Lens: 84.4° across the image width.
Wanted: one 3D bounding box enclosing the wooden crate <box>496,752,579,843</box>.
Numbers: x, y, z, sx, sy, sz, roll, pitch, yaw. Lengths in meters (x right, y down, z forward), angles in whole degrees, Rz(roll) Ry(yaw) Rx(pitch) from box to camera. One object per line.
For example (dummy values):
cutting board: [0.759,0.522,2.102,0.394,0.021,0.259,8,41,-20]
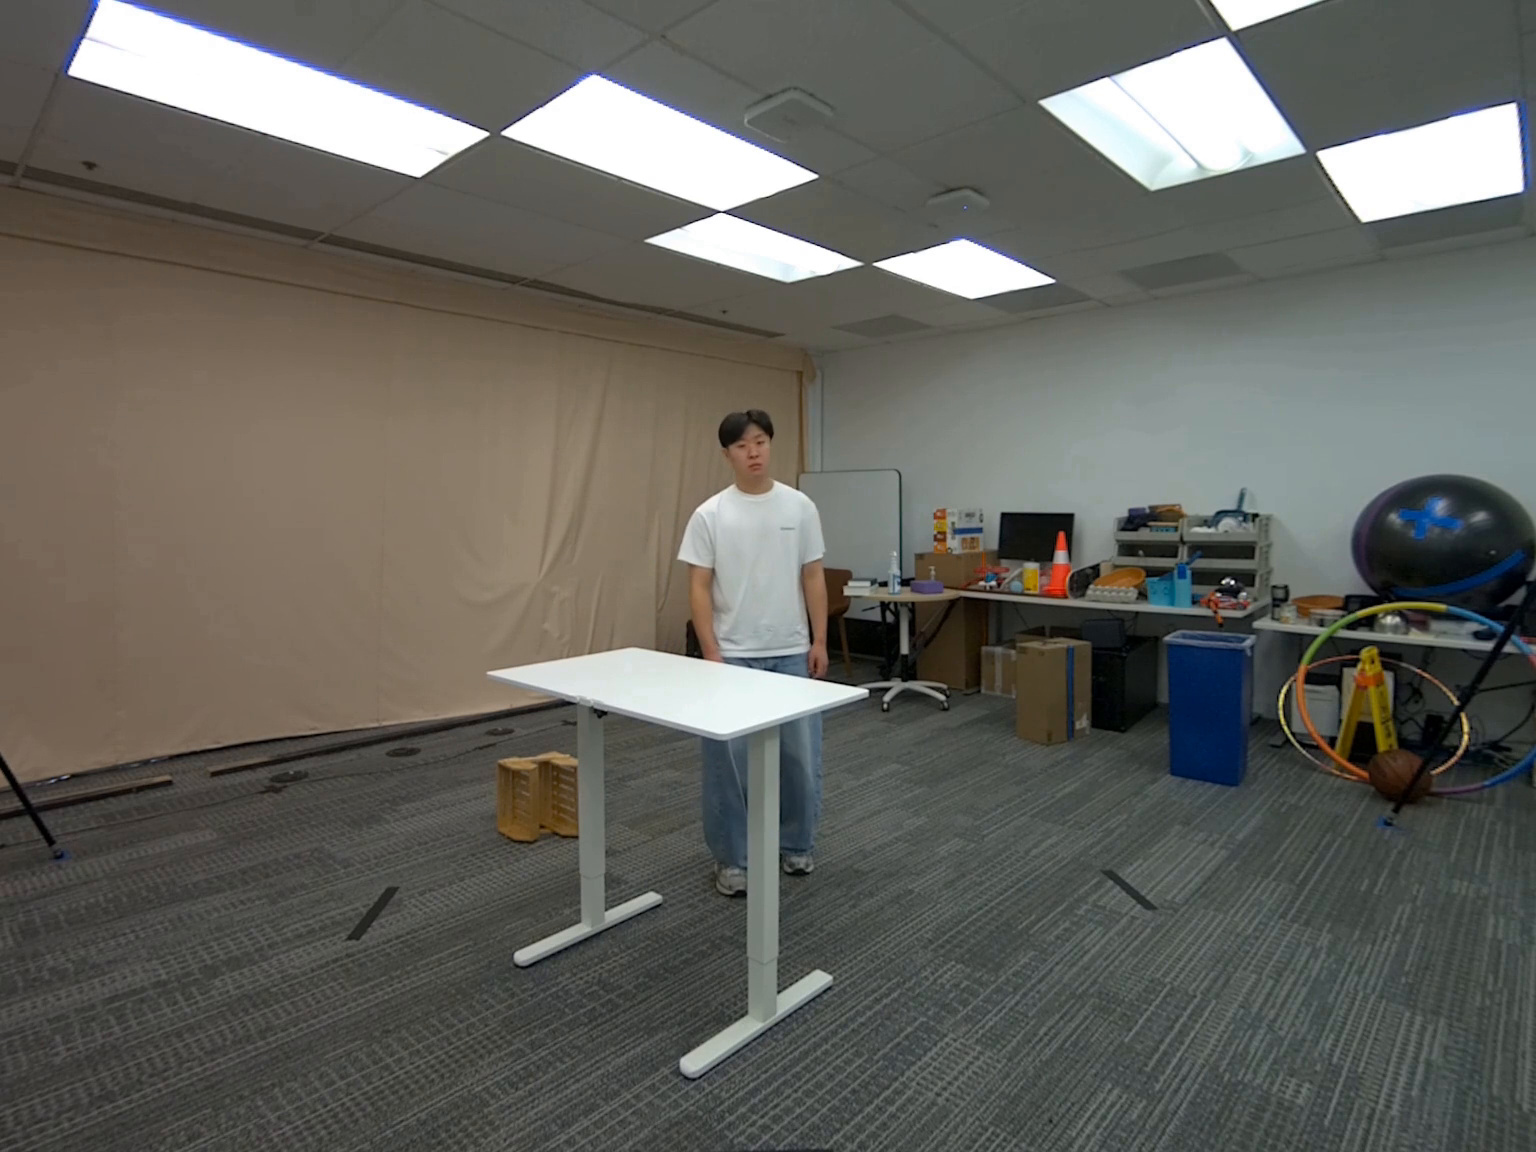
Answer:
wooden crate: [-0.971,0.941,3.577,0.312,0.324,0.265,2,3,44]
